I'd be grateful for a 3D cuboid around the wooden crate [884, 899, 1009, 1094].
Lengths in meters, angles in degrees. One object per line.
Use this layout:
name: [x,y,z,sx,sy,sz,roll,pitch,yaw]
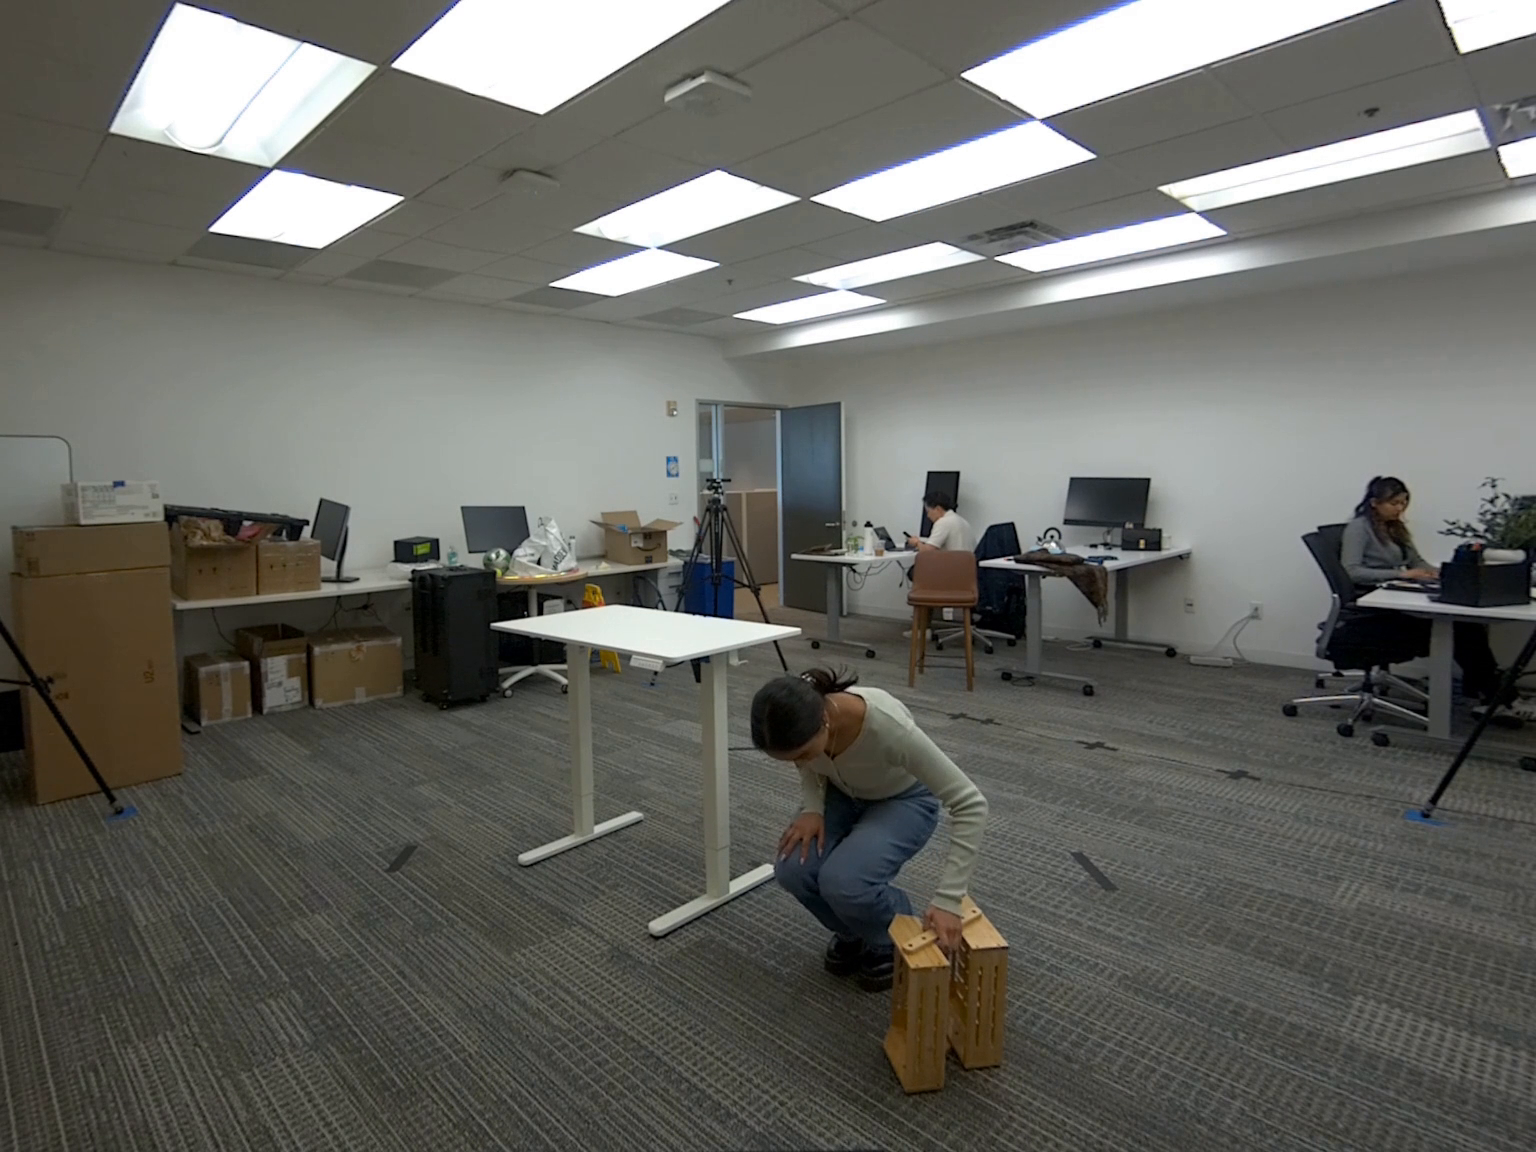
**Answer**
wooden crate: [0.417,0.997,2.066,0.270,0.322,0.307,1,8,-12]
